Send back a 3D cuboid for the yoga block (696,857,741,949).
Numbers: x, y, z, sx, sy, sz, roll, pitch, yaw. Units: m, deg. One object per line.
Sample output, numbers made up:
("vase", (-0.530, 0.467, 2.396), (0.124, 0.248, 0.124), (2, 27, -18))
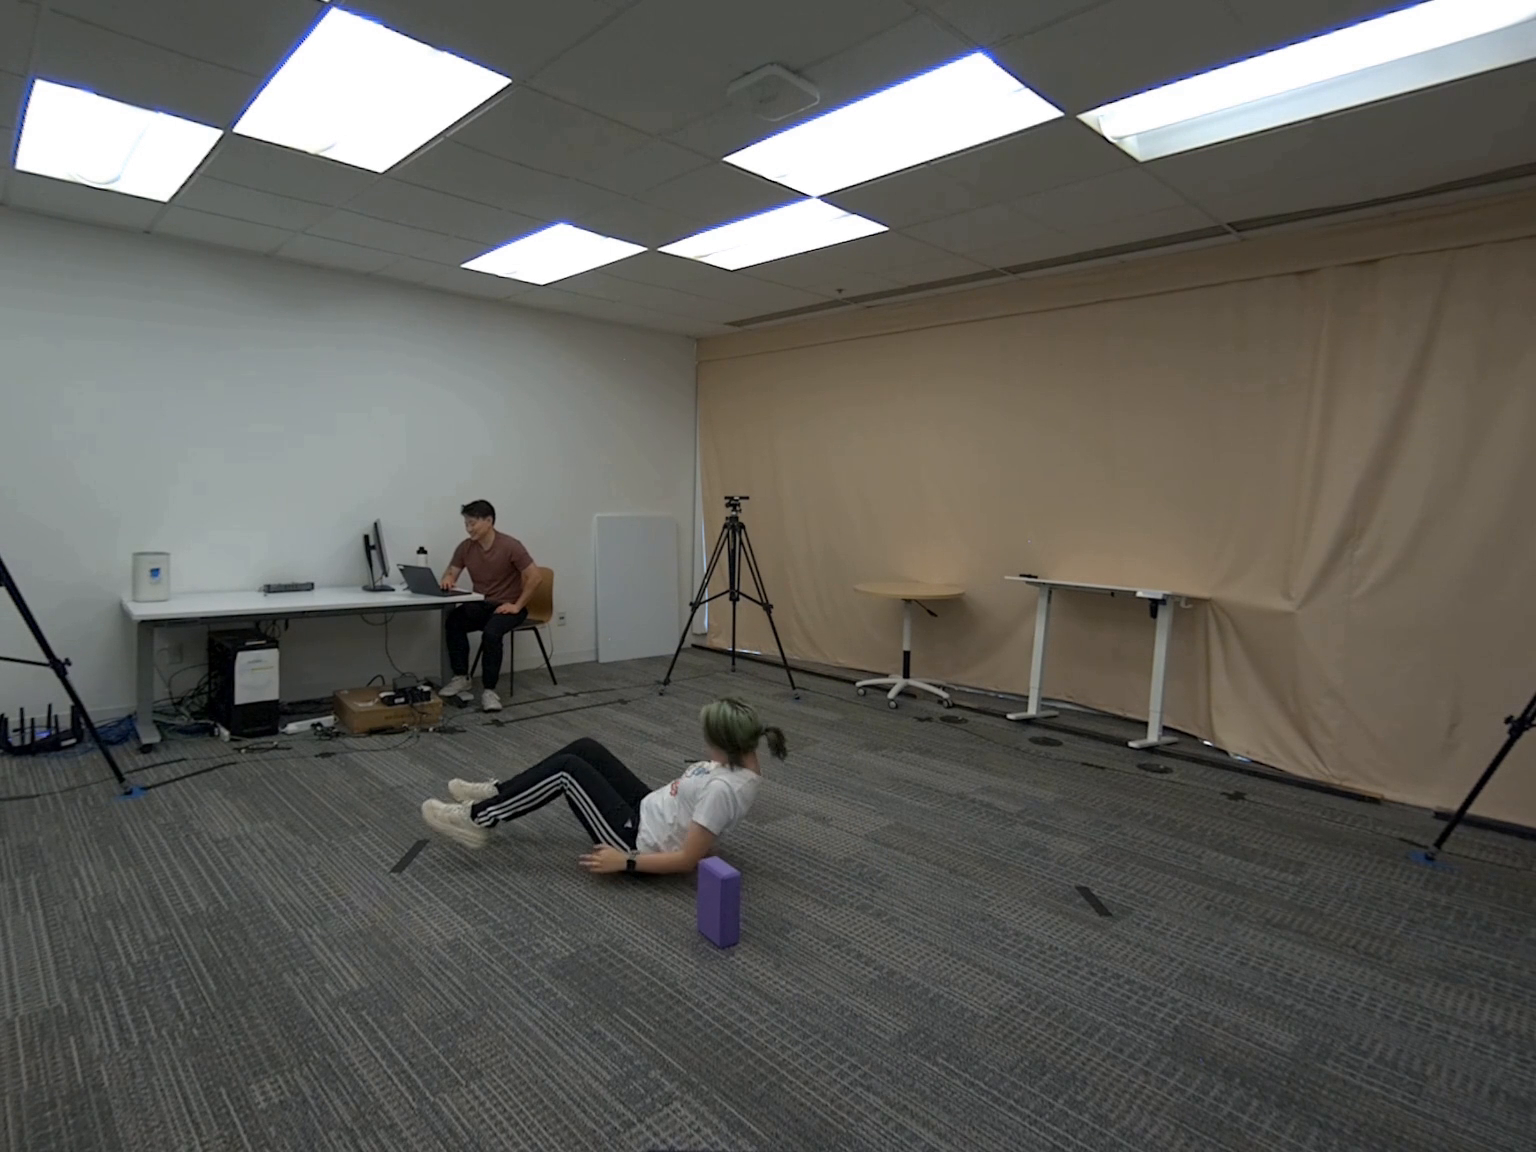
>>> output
("yoga block", (-0.163, 1.029, 2.652), (0.075, 0.229, 0.153), (1, 4, -37))
